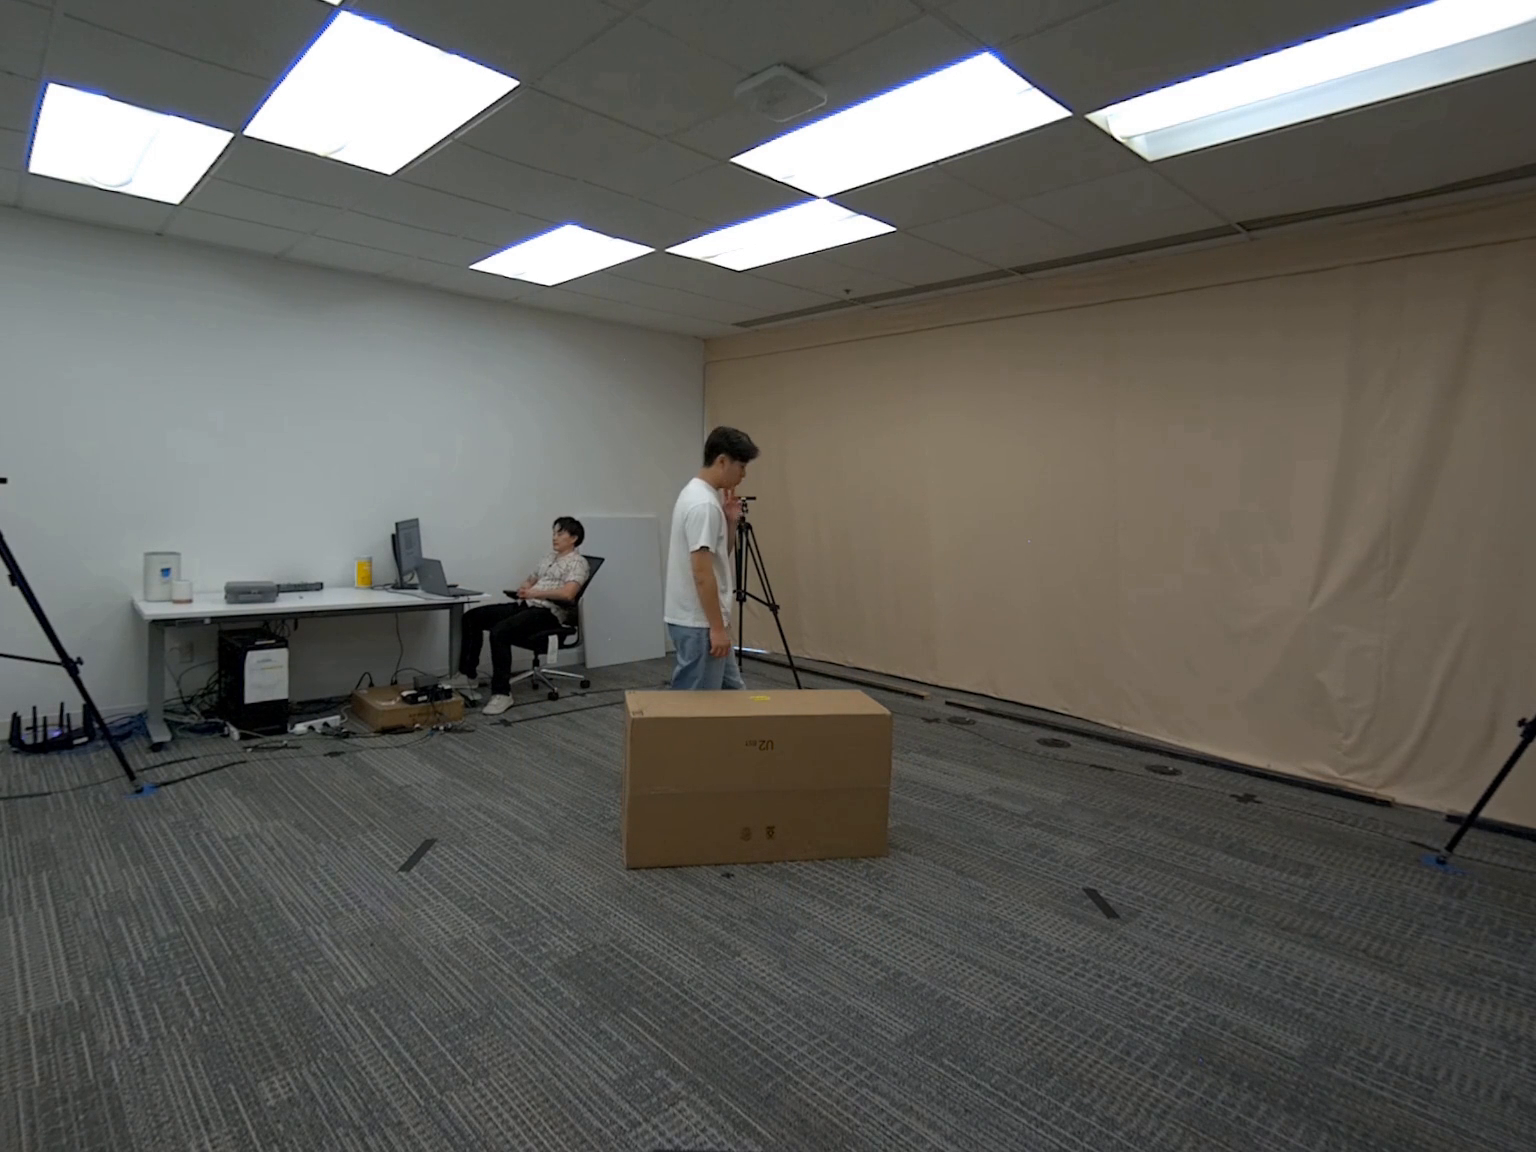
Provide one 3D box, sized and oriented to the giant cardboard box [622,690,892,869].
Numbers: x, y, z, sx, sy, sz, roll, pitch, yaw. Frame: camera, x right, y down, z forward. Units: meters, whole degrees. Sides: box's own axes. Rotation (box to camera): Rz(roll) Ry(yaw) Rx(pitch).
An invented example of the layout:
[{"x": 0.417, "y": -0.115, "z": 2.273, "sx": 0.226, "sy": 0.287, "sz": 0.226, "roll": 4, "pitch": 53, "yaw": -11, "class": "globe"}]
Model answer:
[{"x": -0.069, "y": 0.792, "z": 3.405, "sx": 1.017, "sy": 0.576, "sz": 0.431, "roll": 1, "pitch": 4, "yaw": -10, "class": "giant cardboard box"}]
